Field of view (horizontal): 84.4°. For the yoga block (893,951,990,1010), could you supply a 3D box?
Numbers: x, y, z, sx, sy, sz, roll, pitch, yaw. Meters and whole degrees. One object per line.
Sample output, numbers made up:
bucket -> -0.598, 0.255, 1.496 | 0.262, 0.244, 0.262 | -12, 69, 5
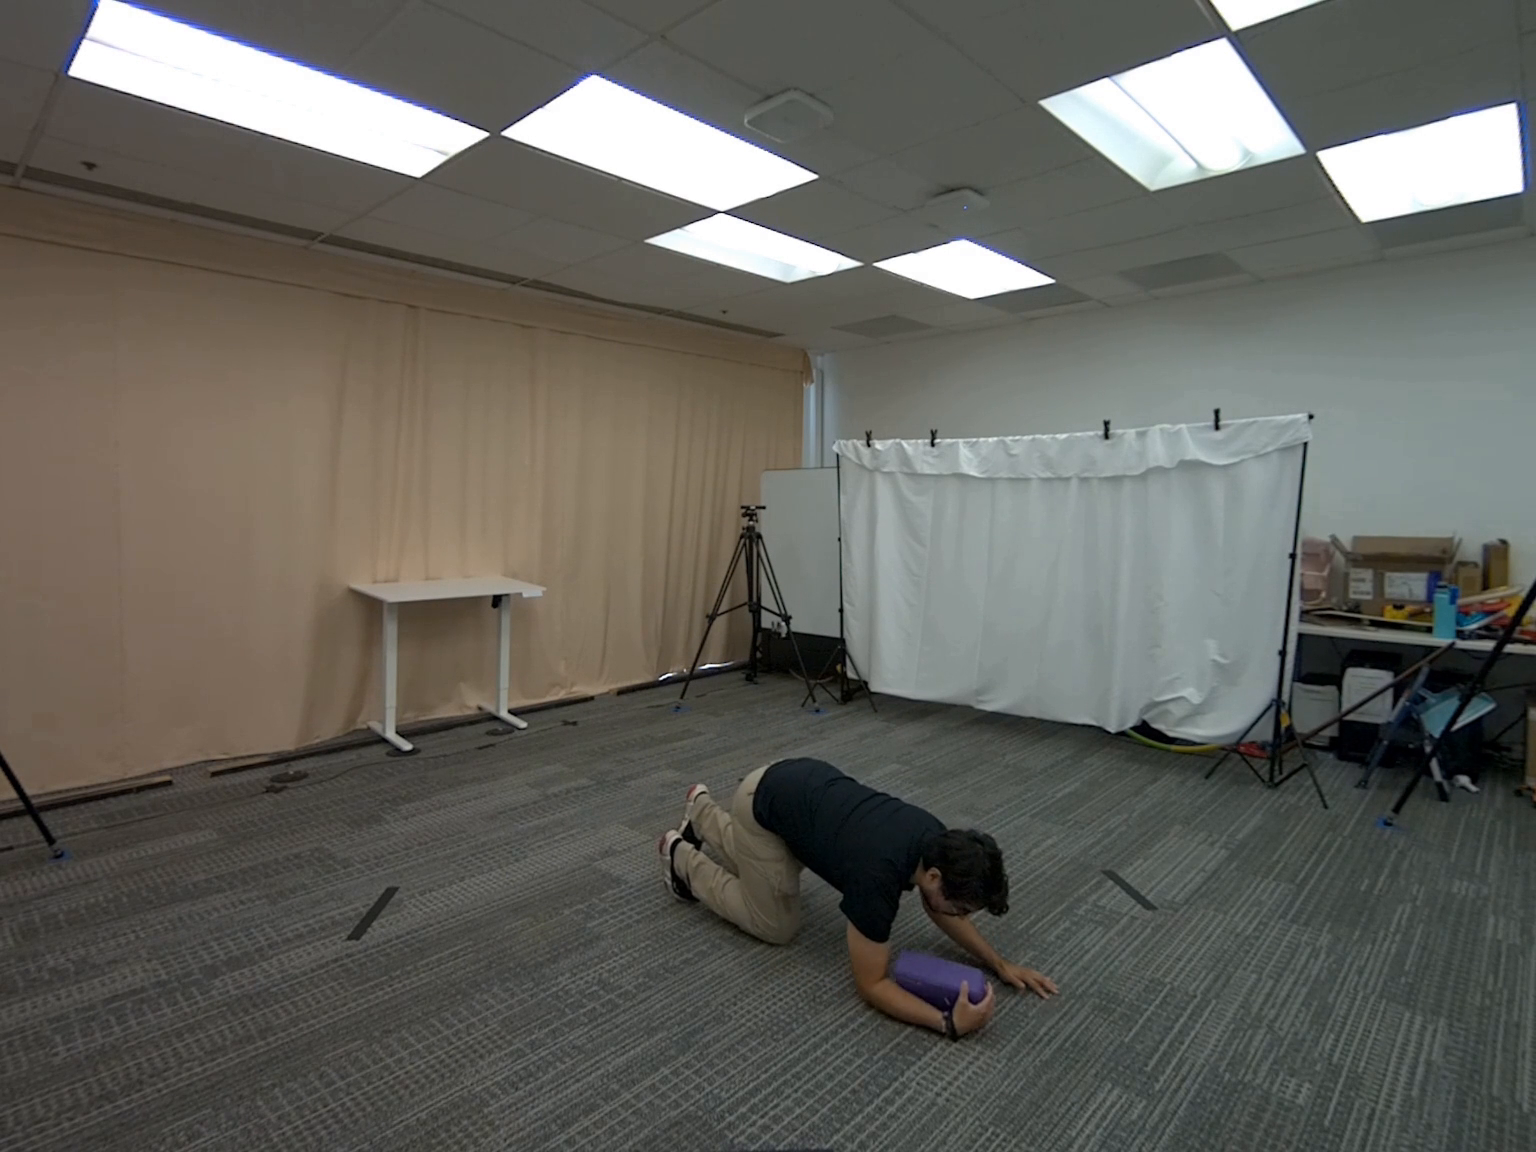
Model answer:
yoga block -> 0.480, 1.121, 2.302 | 0.235, 0.147, 0.075 | 0, 20, 27
